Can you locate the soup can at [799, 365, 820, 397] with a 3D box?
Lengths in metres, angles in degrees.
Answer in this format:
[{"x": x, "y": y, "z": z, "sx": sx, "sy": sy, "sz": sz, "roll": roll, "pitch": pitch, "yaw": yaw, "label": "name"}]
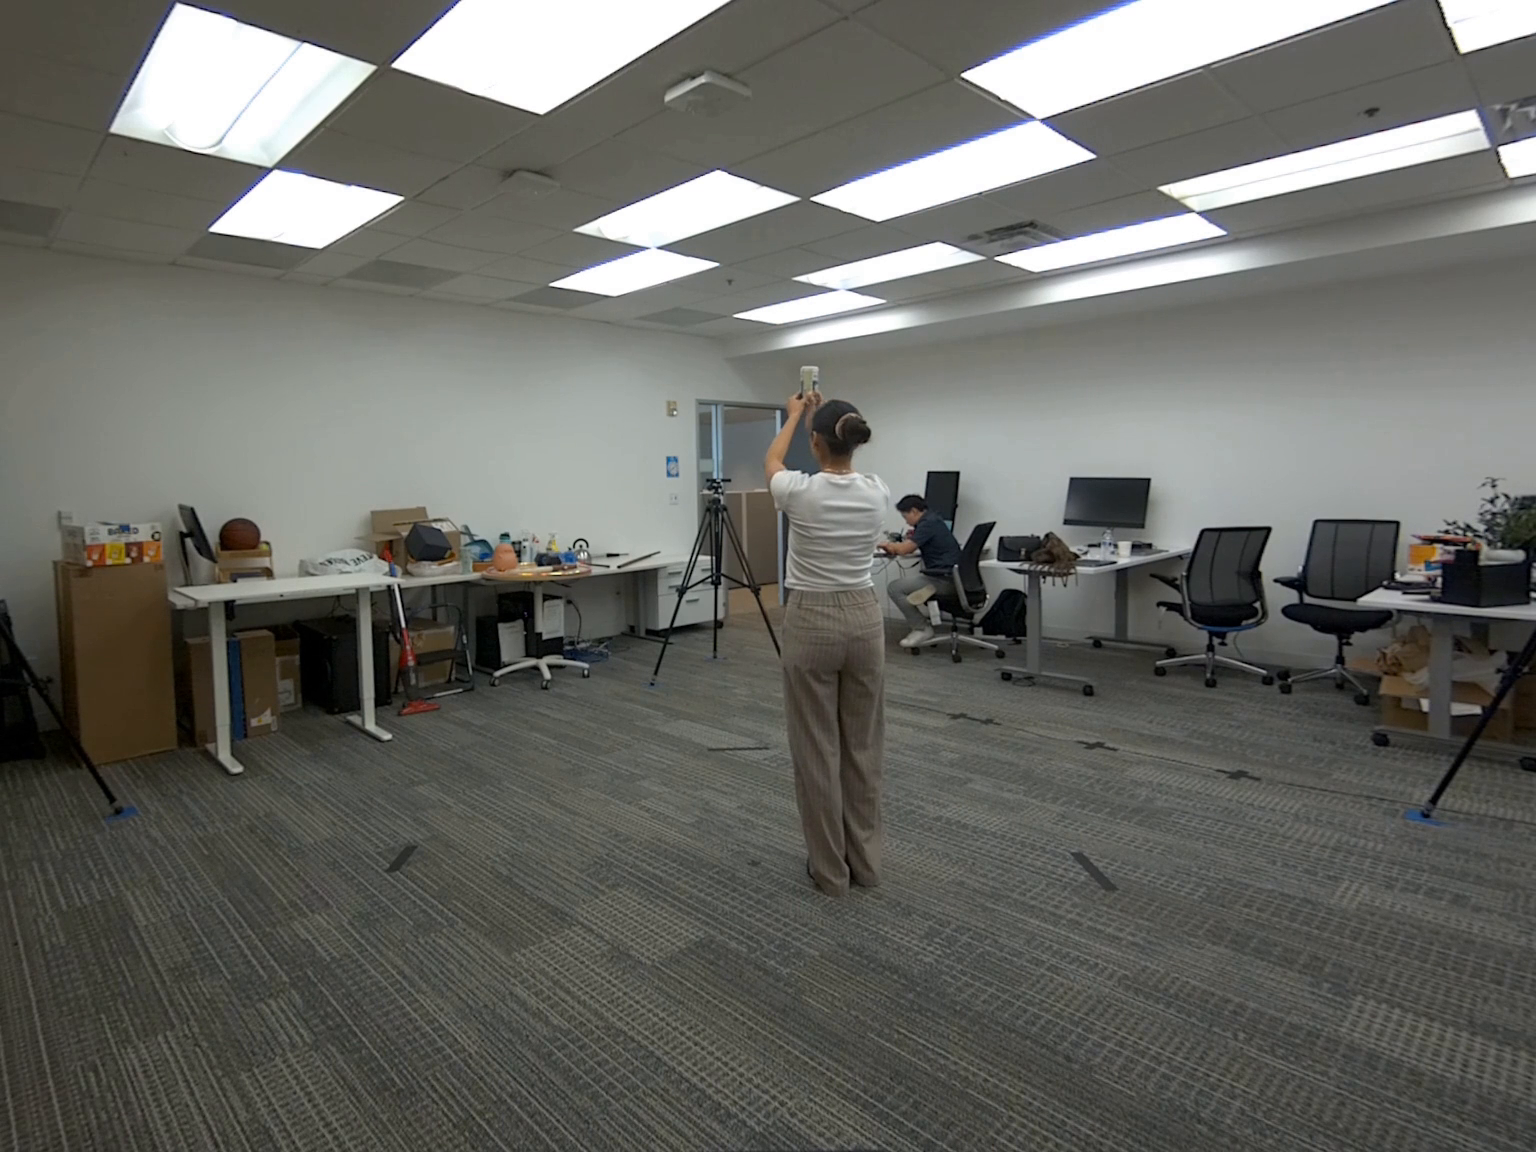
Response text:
[{"x": 0.156, "y": -0.732, "z": 3.229, "sx": 0.067, "sy": 0.121, "sz": 0.067, "roll": -1, "pitch": 5, "yaw": -2, "label": "soup can"}]
